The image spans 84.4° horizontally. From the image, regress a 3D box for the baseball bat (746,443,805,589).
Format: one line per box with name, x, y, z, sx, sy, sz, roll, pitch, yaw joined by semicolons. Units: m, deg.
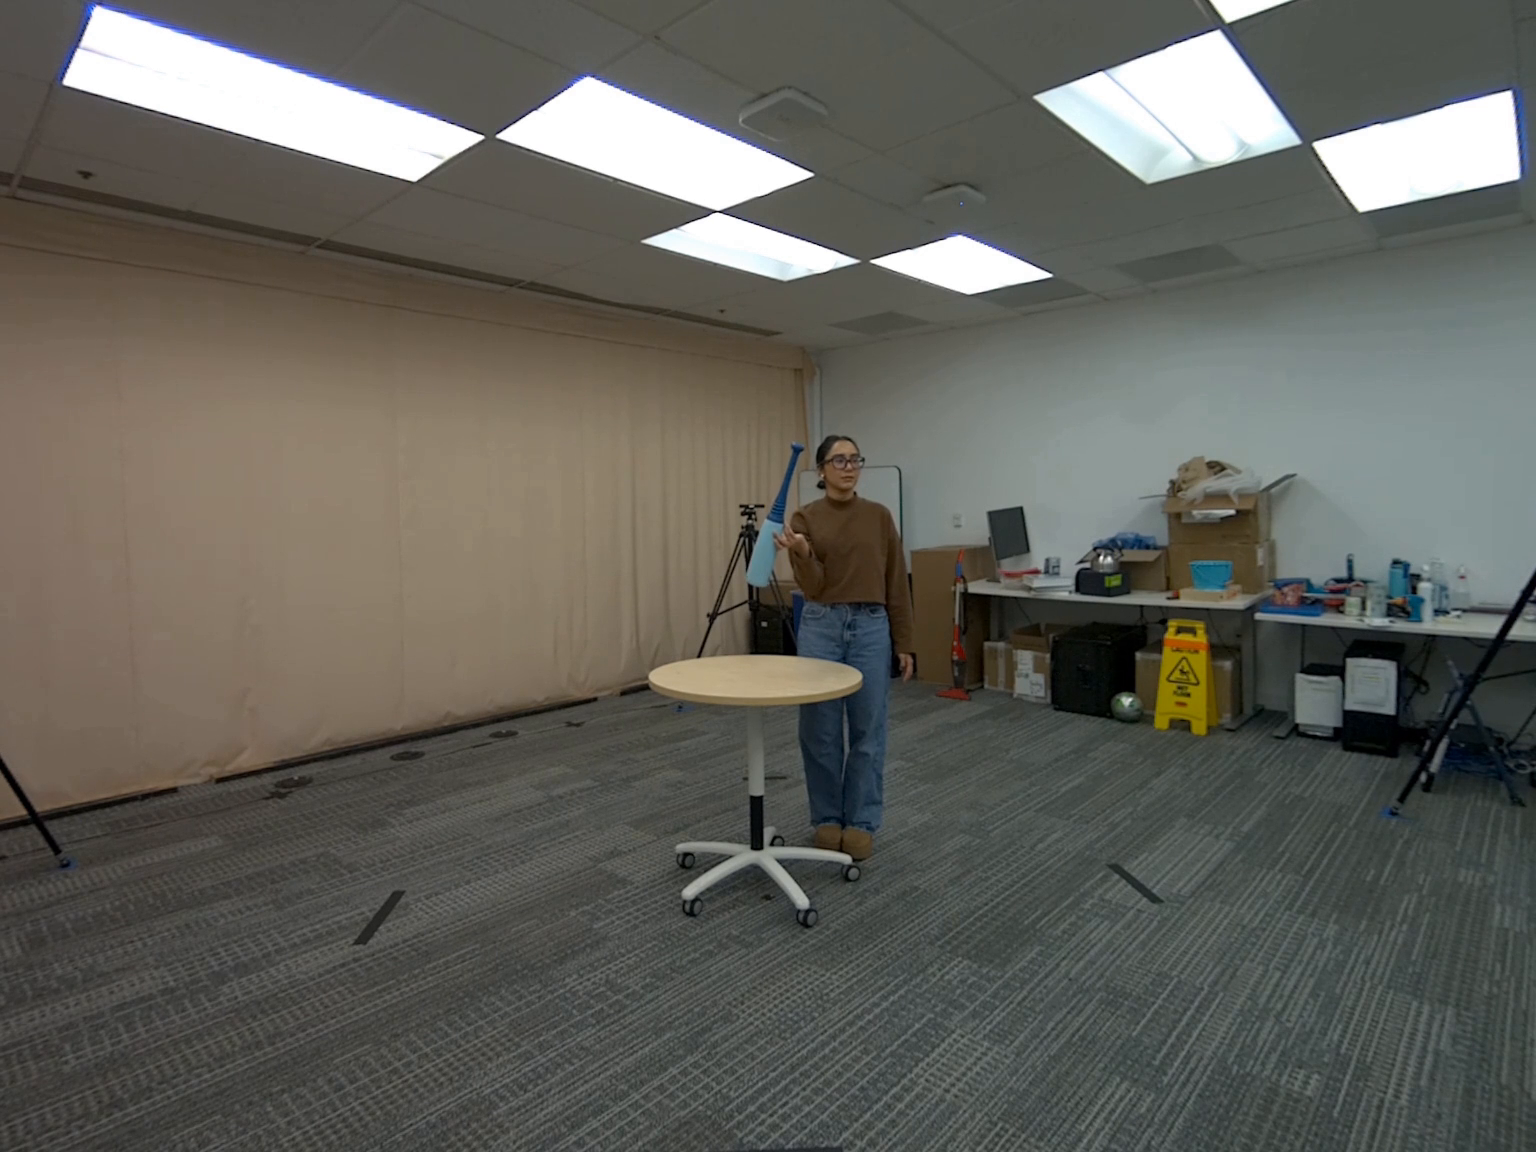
baseball bat;0.037;-0.220;3.058;0.088;0.541;0.090;17;12;-6
